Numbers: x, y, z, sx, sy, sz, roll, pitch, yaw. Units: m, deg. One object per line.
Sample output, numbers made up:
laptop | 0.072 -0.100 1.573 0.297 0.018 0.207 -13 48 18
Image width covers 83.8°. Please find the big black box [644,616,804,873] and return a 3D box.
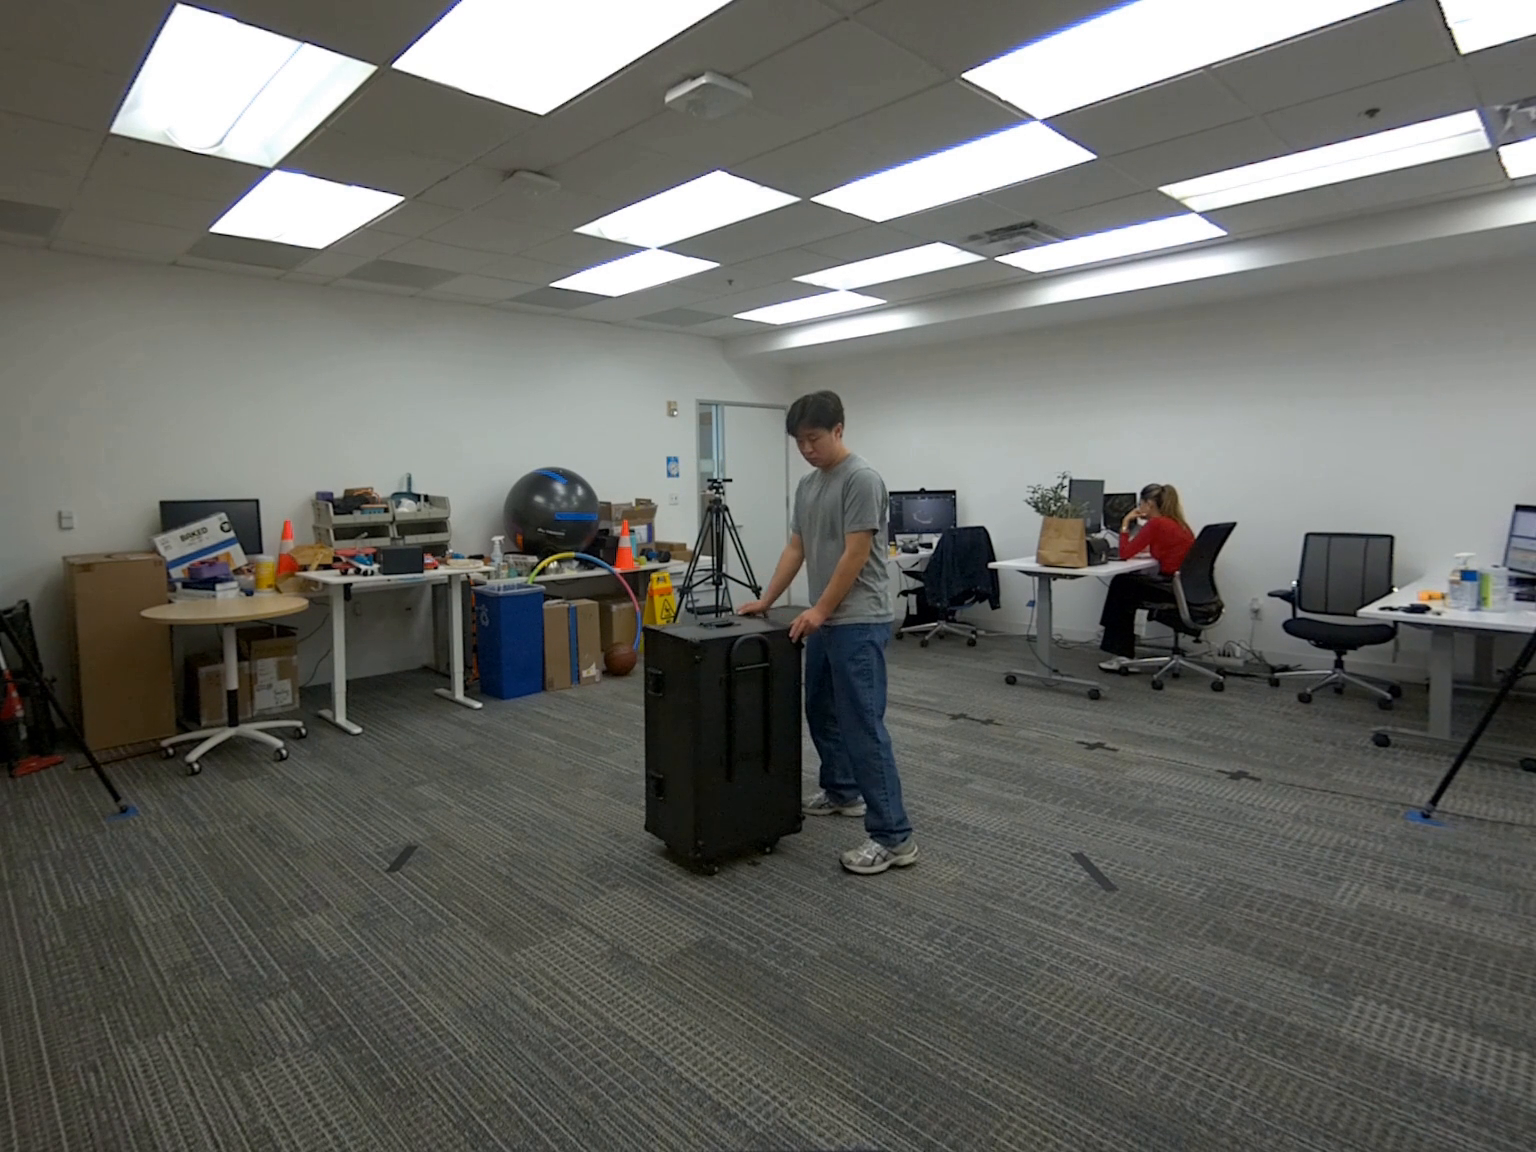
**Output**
big black box | -0.160 0.610 3.197 0.508 0.858 0.408 -3 5 -35
